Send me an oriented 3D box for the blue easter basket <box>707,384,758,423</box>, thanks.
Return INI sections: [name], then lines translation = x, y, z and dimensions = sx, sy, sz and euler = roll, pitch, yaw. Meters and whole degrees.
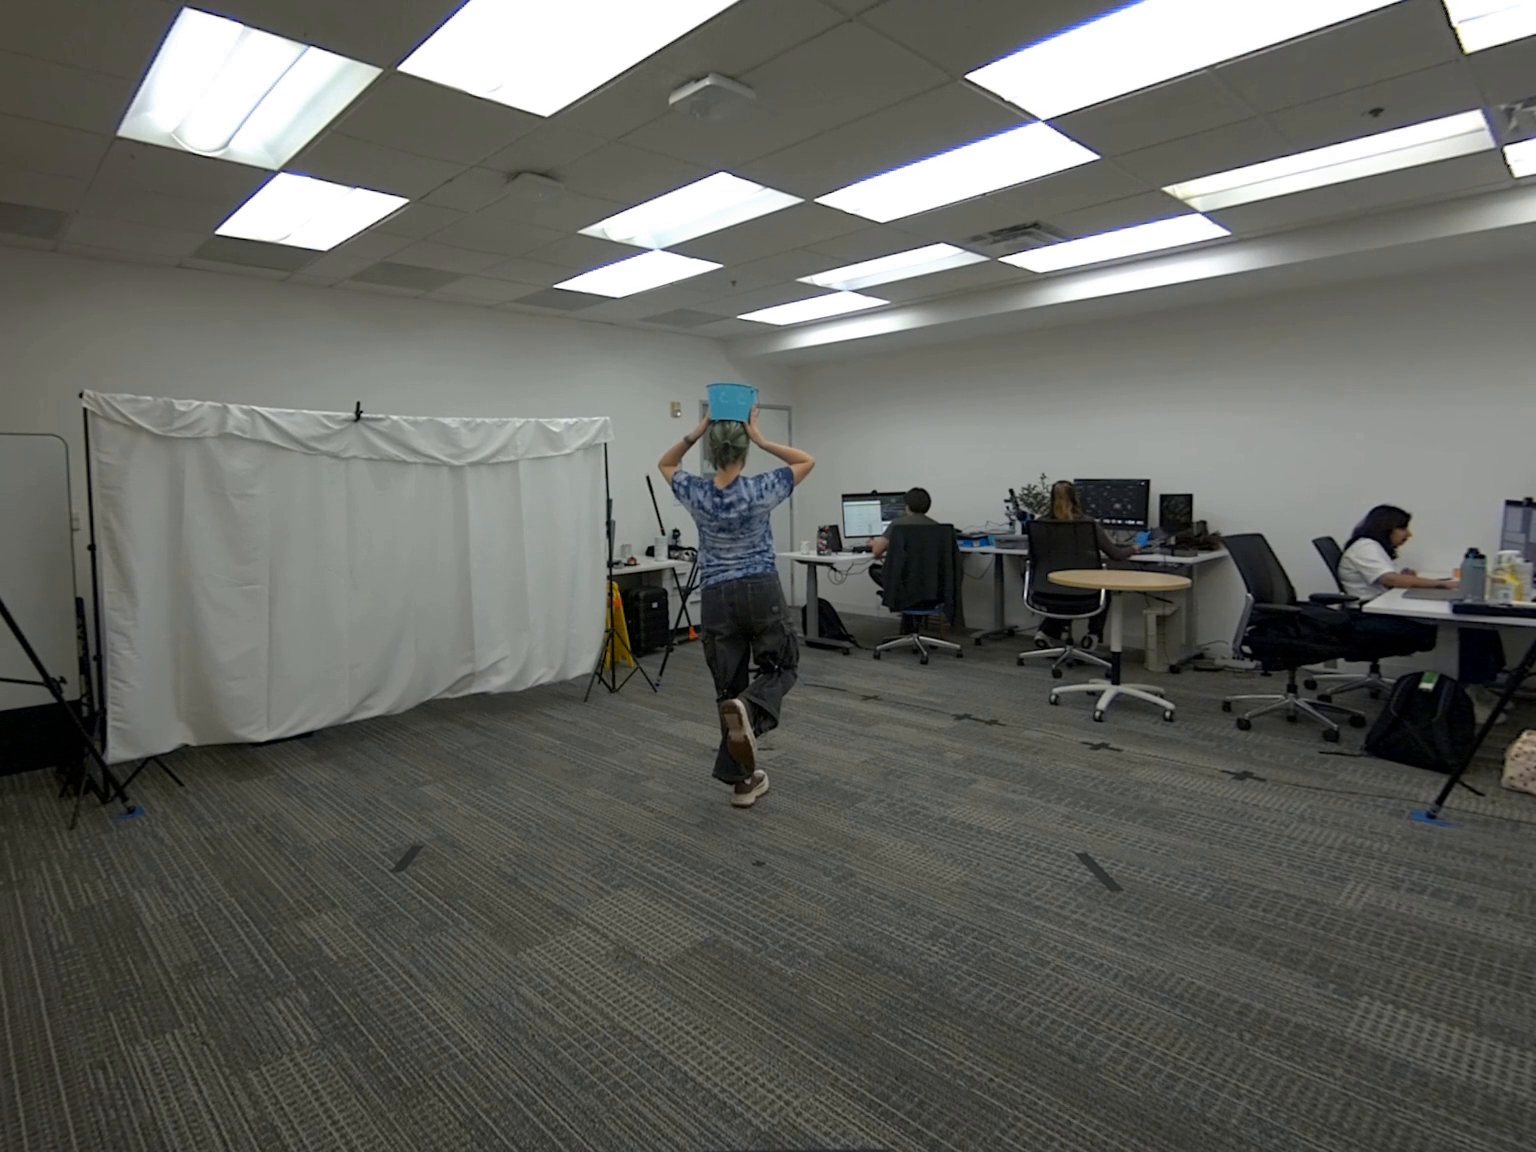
[blue easter basket]
translation = -0.163, -0.744, 3.743
dimensions = 0.243, 0.156, 0.243
euler = 4, -1, -2
